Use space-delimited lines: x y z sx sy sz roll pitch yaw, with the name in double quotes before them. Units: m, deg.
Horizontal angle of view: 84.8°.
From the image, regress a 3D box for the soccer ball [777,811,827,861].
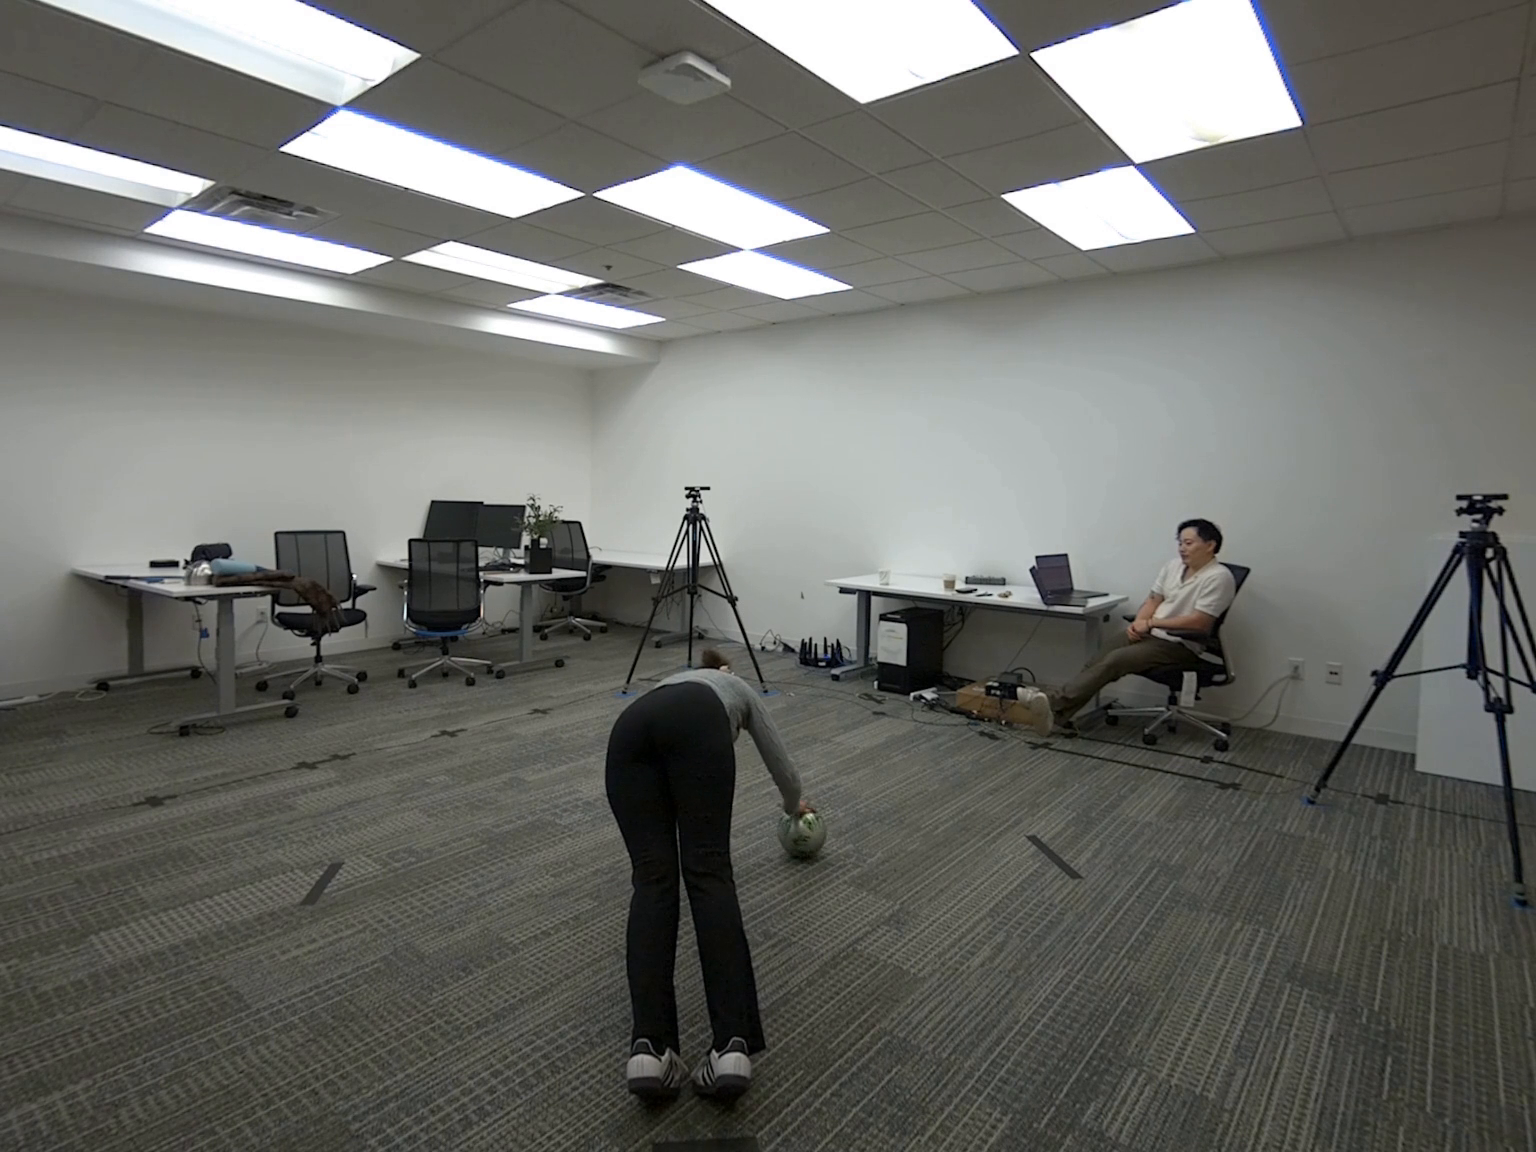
"soccer ball" 0.114 0.963 3.227 0.187 0.187 0.188 1 4 -2
